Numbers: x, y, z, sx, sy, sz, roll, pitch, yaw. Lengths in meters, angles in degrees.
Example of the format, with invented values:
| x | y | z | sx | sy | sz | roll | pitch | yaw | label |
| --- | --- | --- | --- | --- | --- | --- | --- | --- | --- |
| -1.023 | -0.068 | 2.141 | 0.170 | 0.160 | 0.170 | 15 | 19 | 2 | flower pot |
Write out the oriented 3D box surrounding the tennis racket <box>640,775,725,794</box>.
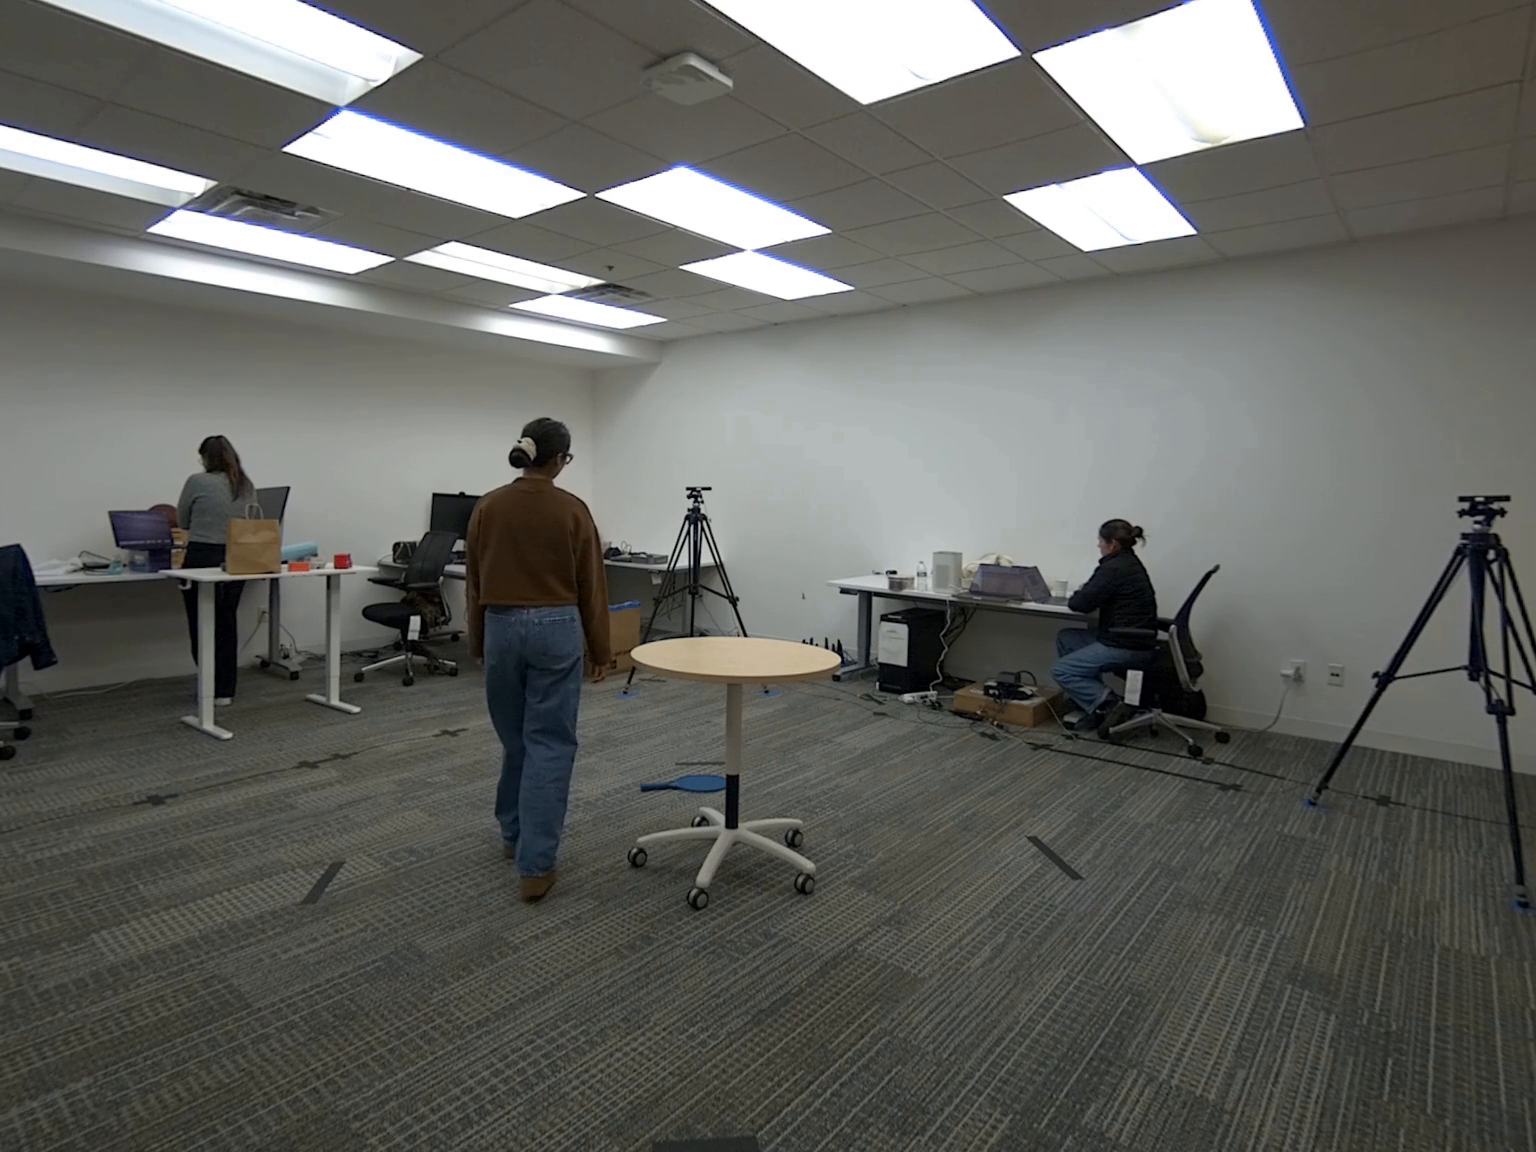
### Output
| x | y | z | sx | sy | sz | roll | pitch | yaw | label |
| --- | --- | --- | --- | --- | --- | --- | --- | --- | --- |
| -0.397 | 0.969 | 3.974 | 0.425 | 0.031 | 0.218 | 0 | 5 | -18 | tennis racket |
